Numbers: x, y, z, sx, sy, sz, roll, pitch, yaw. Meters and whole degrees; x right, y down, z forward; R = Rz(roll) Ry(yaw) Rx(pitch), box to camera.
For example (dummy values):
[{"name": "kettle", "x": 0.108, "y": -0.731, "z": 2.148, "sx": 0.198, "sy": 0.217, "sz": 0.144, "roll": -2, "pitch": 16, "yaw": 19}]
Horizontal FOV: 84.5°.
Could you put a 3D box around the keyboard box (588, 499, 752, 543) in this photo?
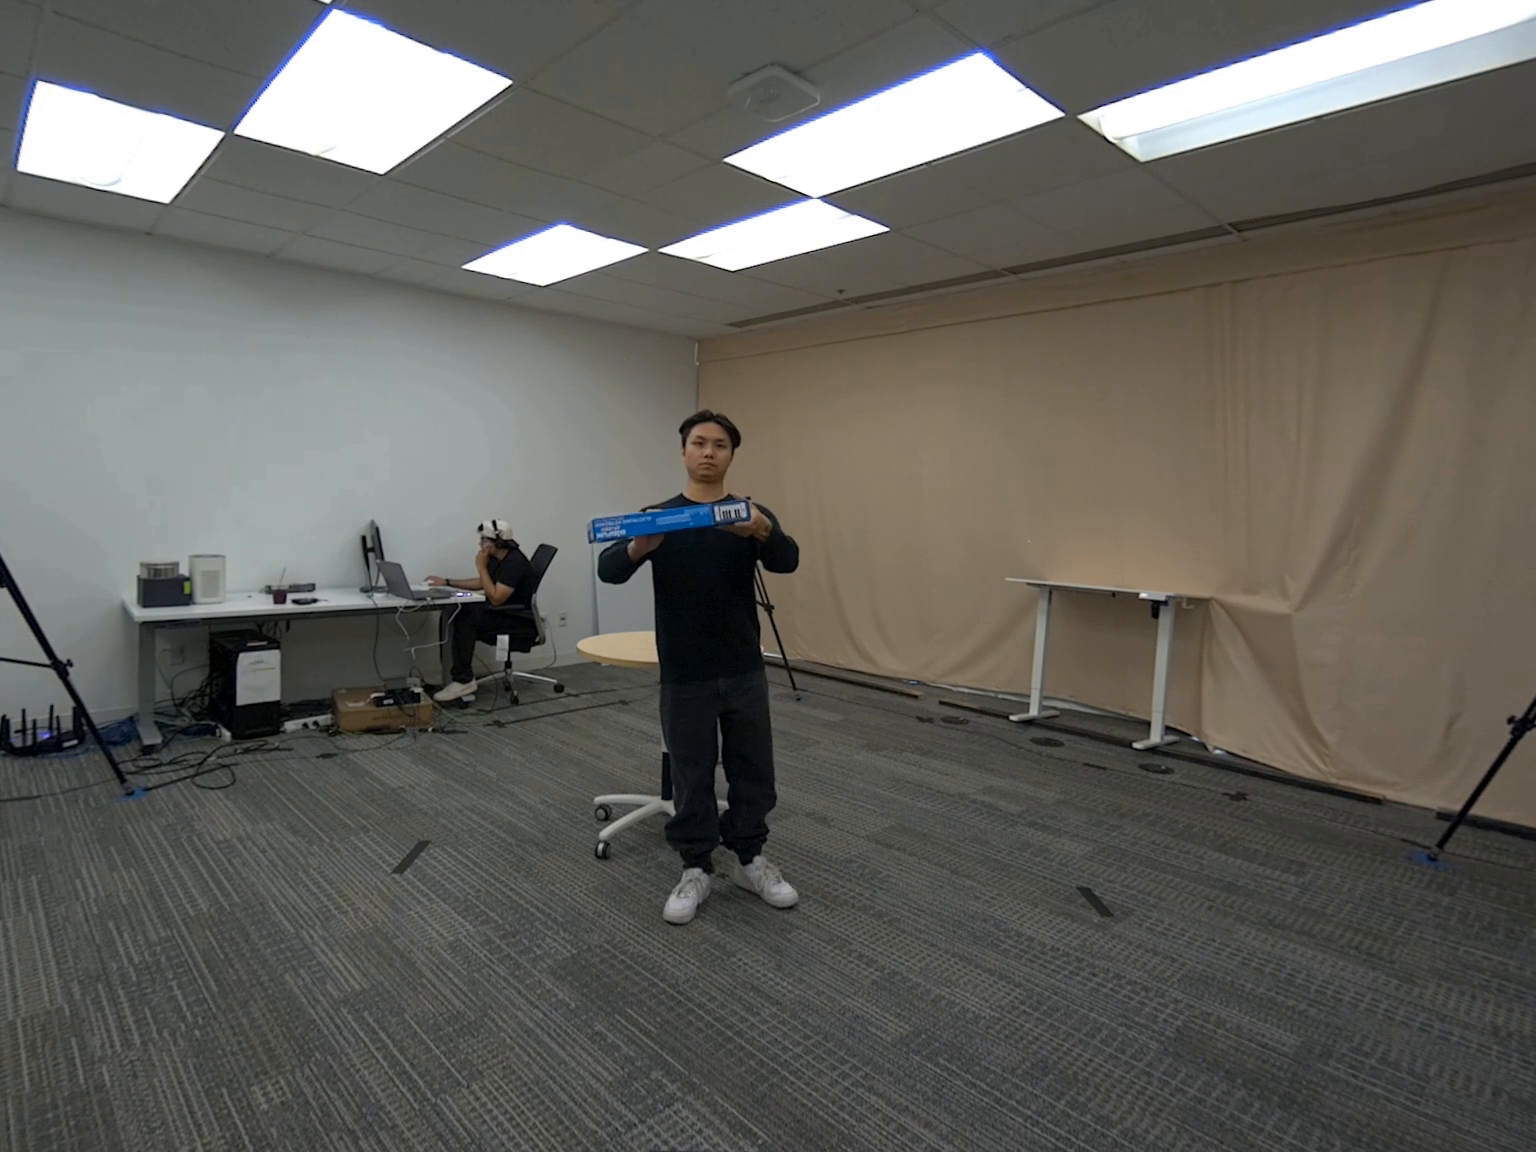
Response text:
[{"name": "keyboard box", "x": -0.290, "y": -0.152, "z": 2.367, "sx": 0.432, "sy": 0.059, "sz": 0.178, "roll": -9, "pitch": 2, "yaw": -15}]
